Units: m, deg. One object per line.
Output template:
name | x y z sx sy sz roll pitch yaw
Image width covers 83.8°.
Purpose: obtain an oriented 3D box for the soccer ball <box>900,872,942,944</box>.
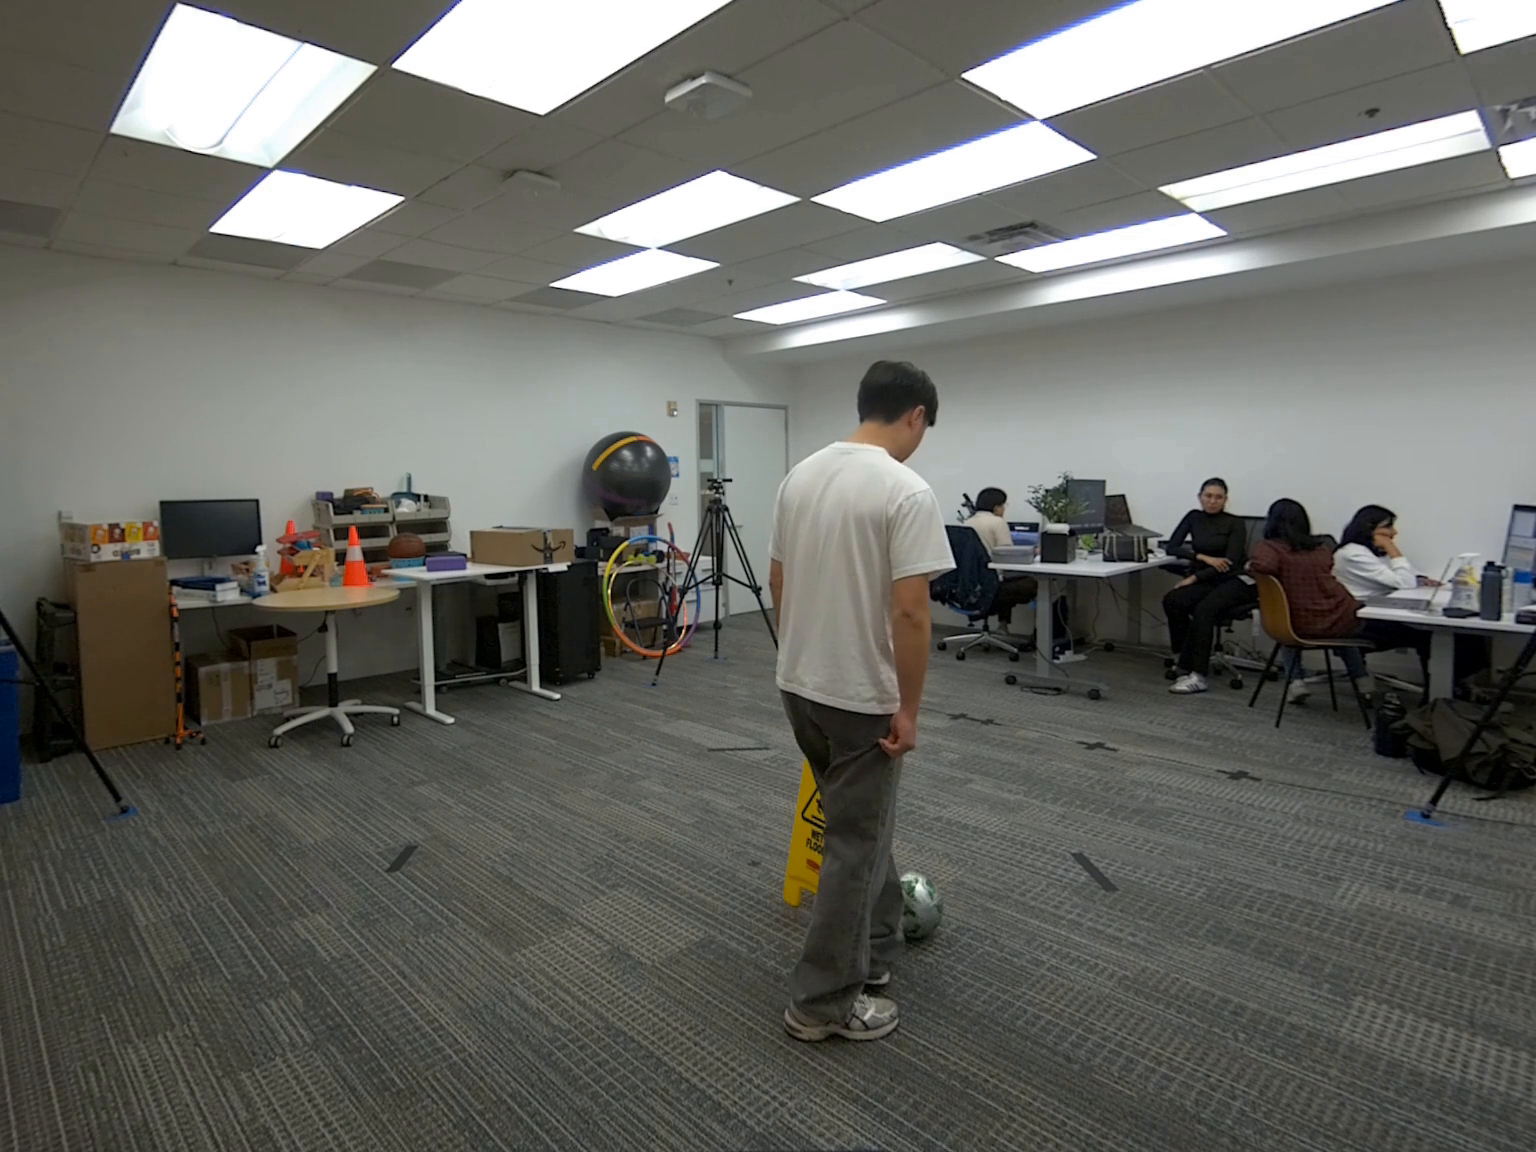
soccer ball | 0.439 1.002 2.596 0.187 0.187 0.188 -1 5 -2
